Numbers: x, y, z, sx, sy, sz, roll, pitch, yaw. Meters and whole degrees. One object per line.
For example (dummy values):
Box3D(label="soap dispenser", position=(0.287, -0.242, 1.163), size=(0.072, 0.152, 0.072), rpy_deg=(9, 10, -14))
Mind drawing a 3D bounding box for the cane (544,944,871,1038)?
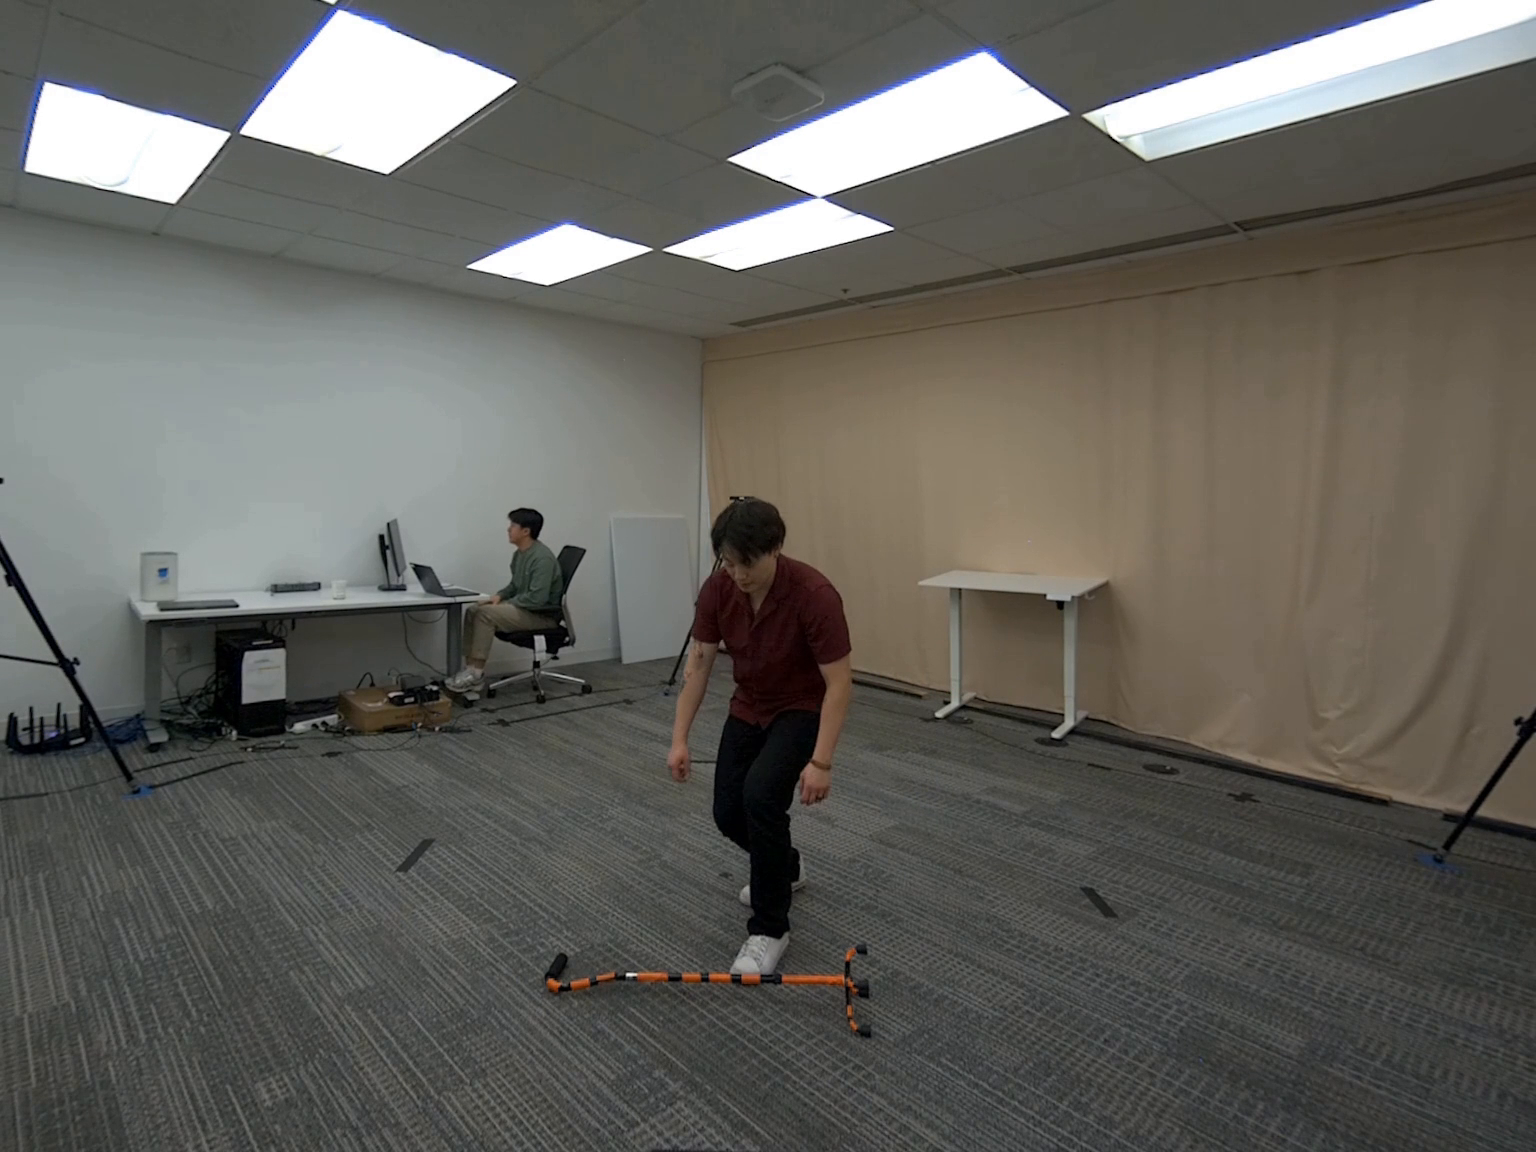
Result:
Box3D(label="cane", position=(-0.185, 1.131, 2.335), size=(0.913, 0.151, 0.206), rpy_deg=(-2, 4, 8))
